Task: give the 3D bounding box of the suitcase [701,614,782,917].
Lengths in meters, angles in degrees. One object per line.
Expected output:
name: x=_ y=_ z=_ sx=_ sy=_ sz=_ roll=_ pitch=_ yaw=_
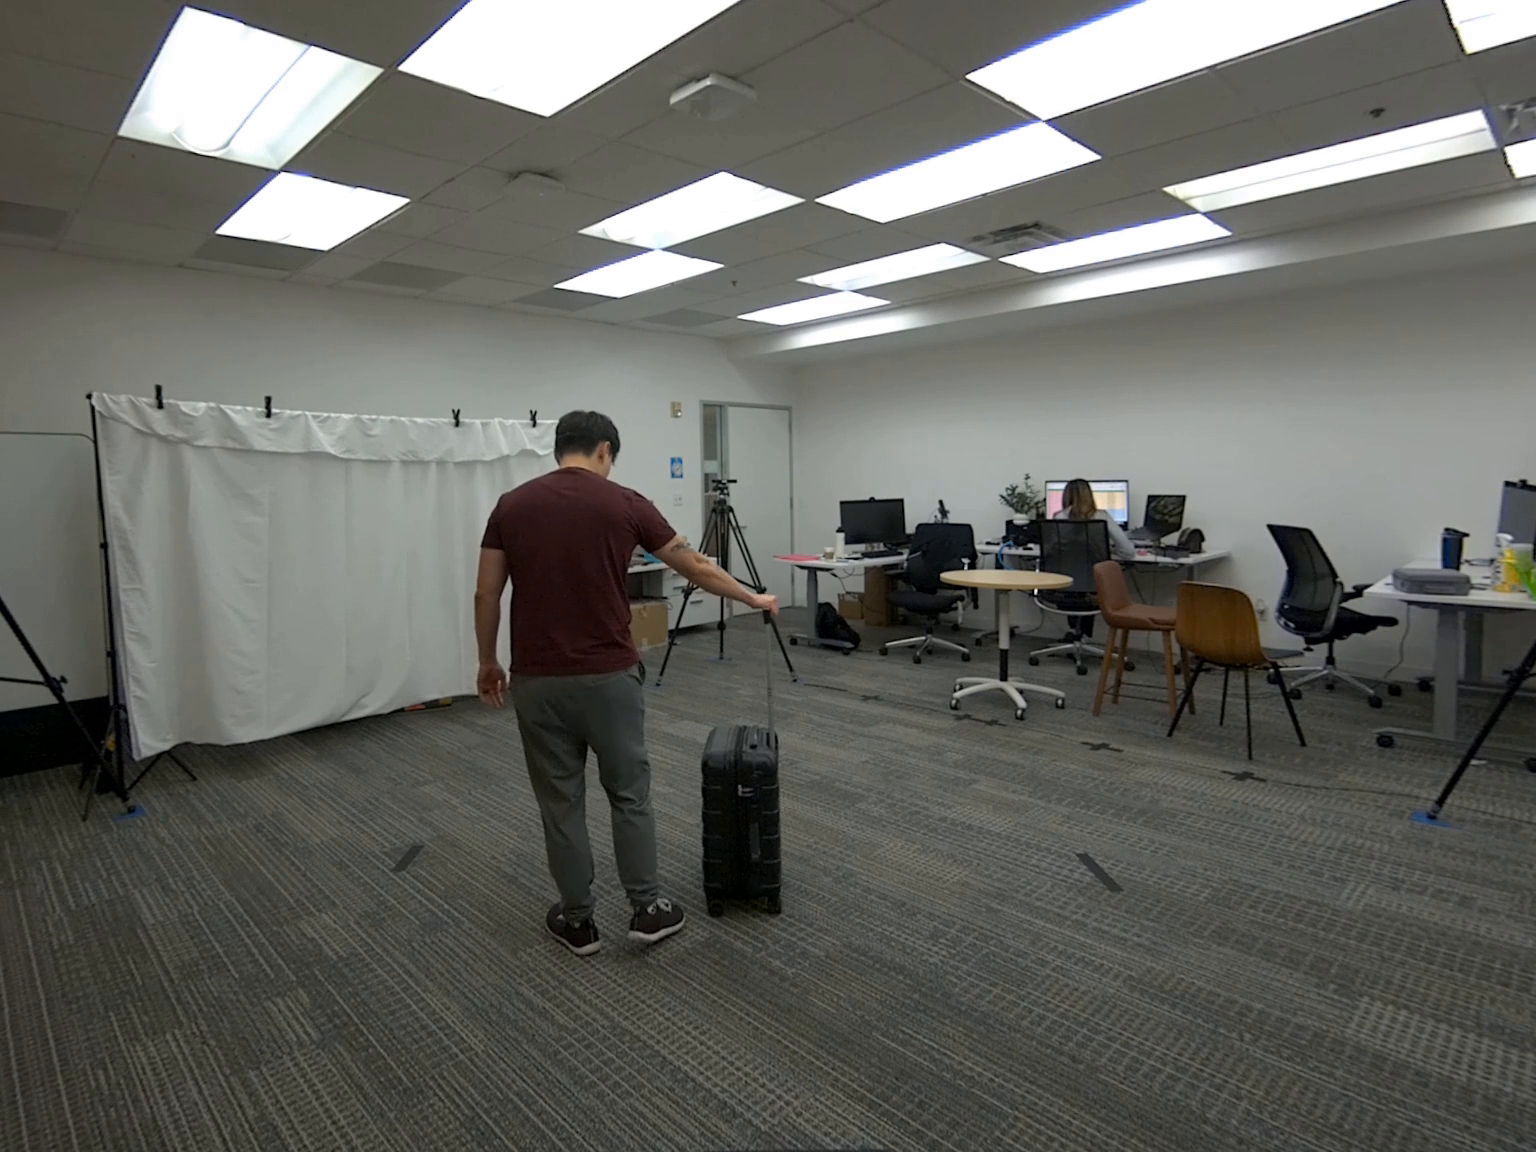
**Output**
suitcase: x=-0.092 y=0.594 z=2.861 sx=0.257 sy=0.974 sz=0.385 roll=-3 pitch=5 yaw=1
